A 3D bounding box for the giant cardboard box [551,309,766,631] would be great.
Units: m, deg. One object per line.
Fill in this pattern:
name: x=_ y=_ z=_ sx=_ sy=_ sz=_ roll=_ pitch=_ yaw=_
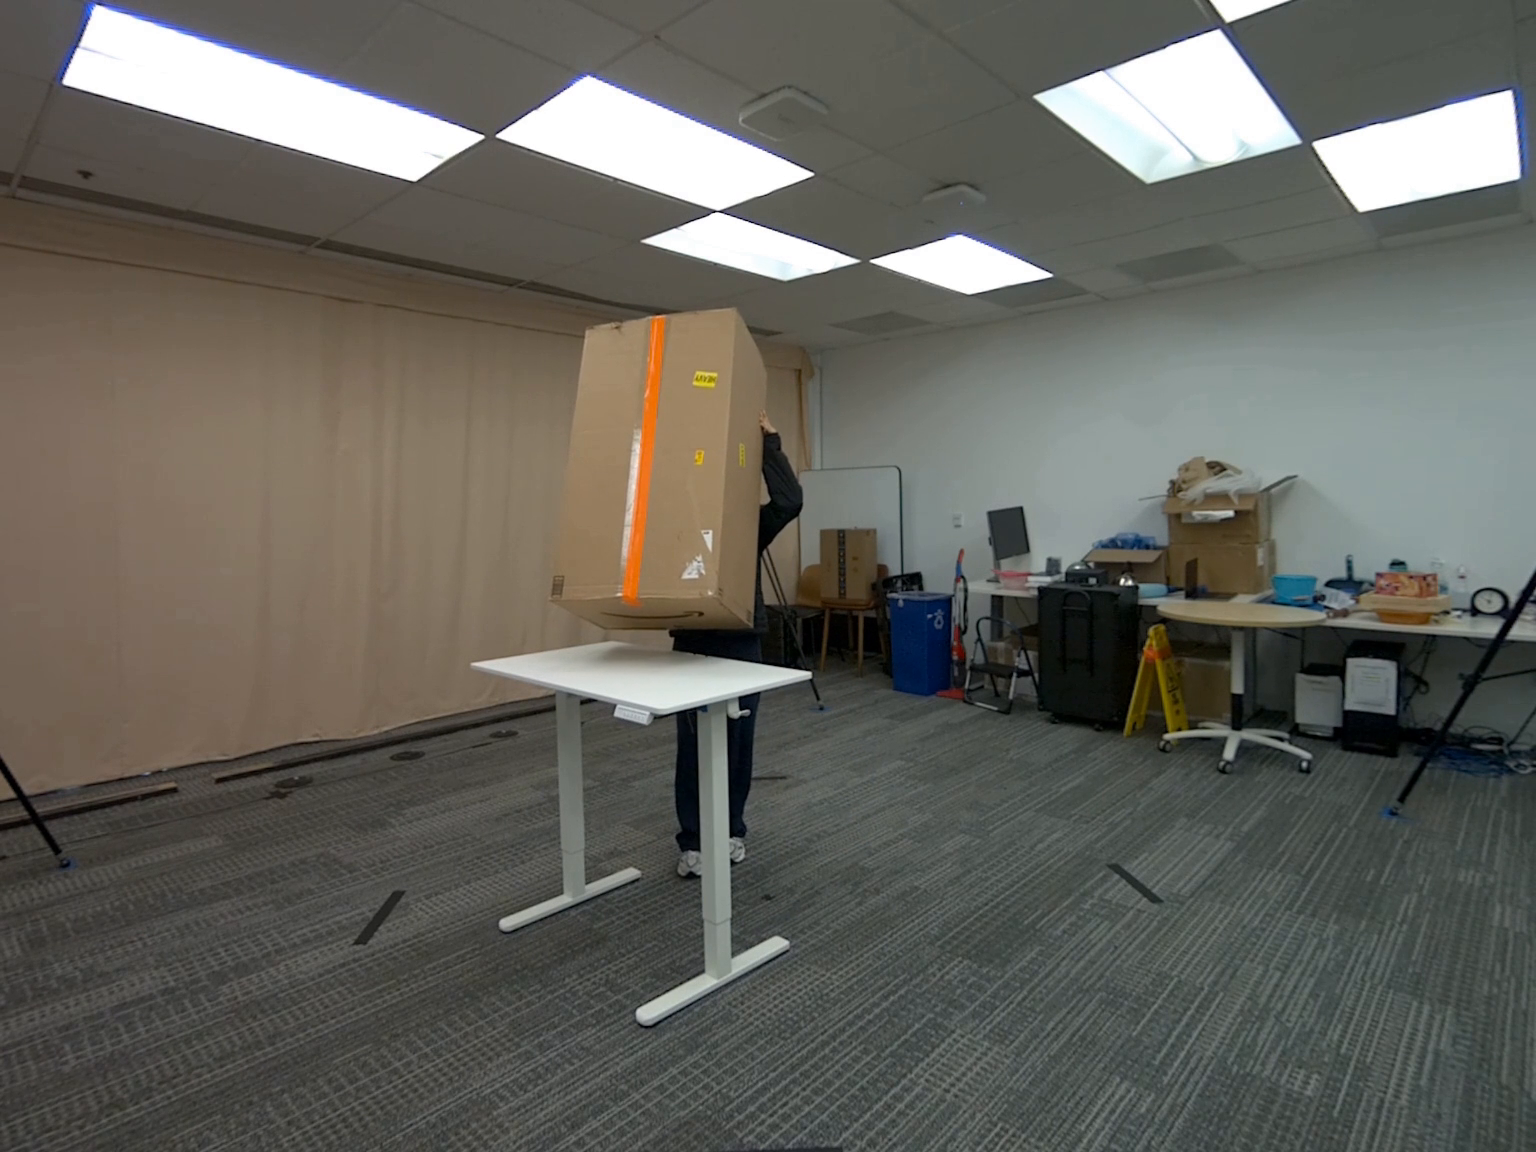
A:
giant cardboard box: x=-0.345 y=-0.354 z=2.979 sx=0.595 sy=1.037 sz=0.434 roll=-3 pitch=-18 yaw=18
